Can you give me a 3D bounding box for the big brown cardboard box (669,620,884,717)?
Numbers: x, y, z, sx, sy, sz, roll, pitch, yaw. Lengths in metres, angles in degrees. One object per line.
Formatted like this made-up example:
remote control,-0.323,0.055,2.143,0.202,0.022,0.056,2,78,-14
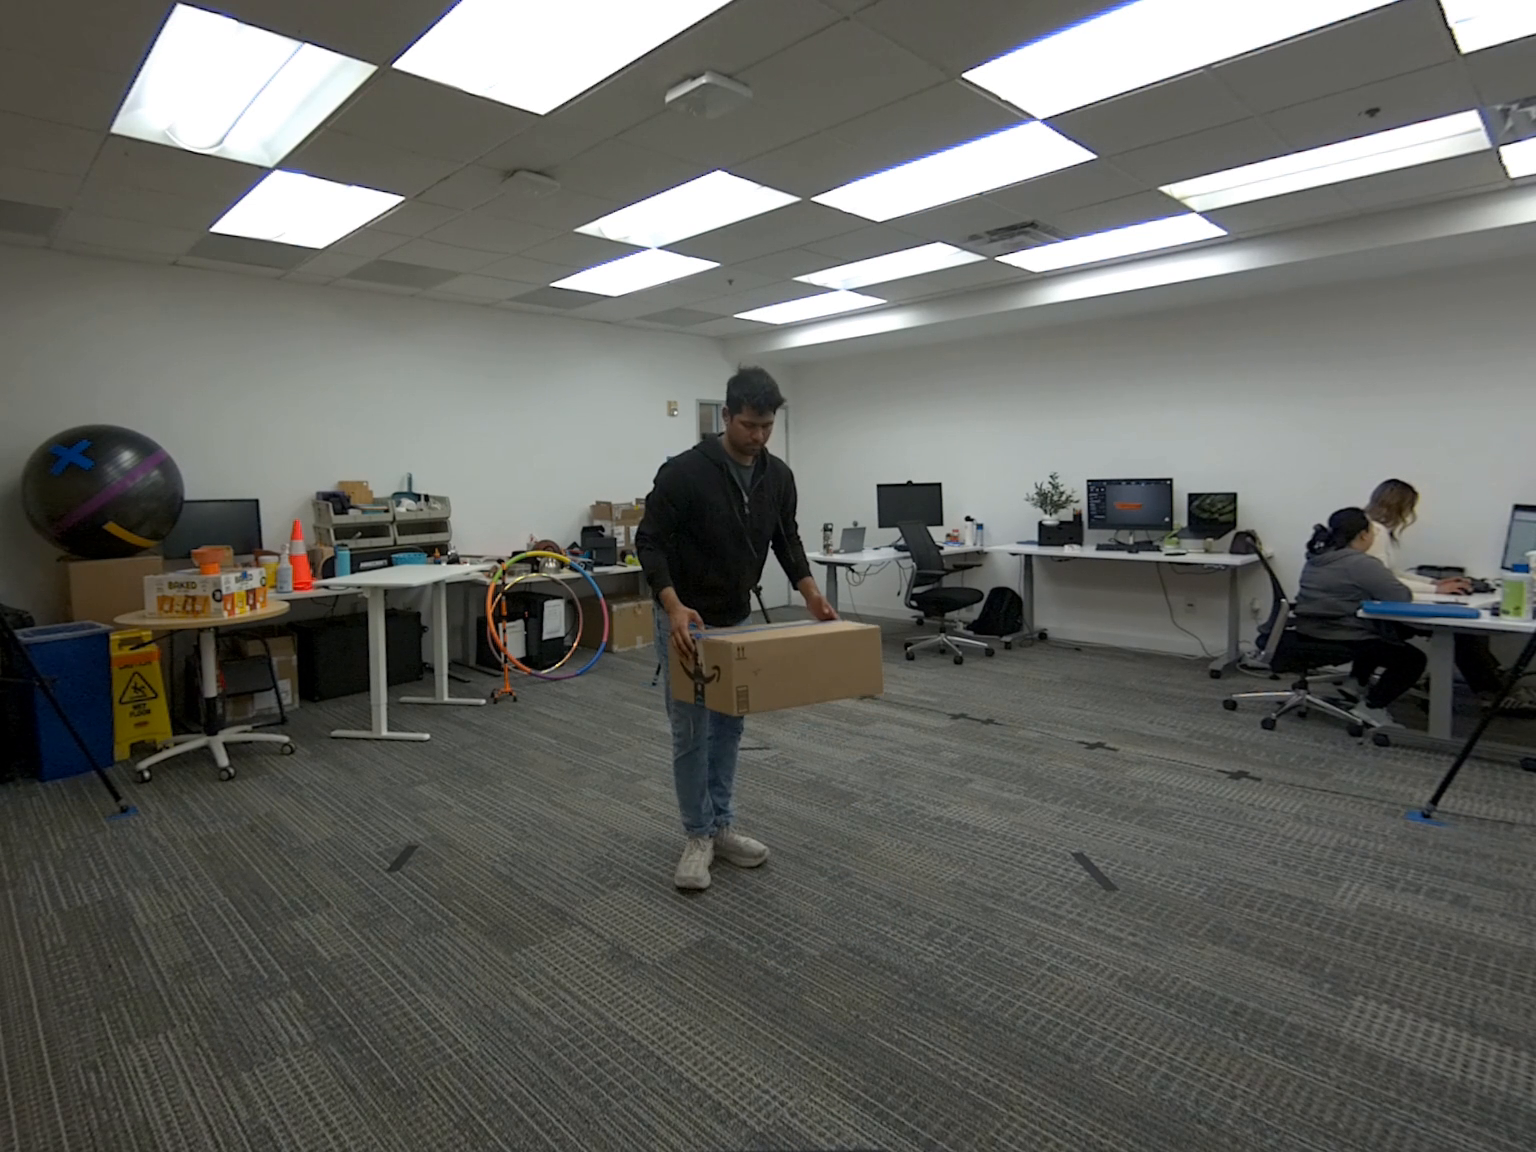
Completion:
big brown cardboard box,0.018,0.298,2.771,0.575,0.233,0.428,-5,2,-32
